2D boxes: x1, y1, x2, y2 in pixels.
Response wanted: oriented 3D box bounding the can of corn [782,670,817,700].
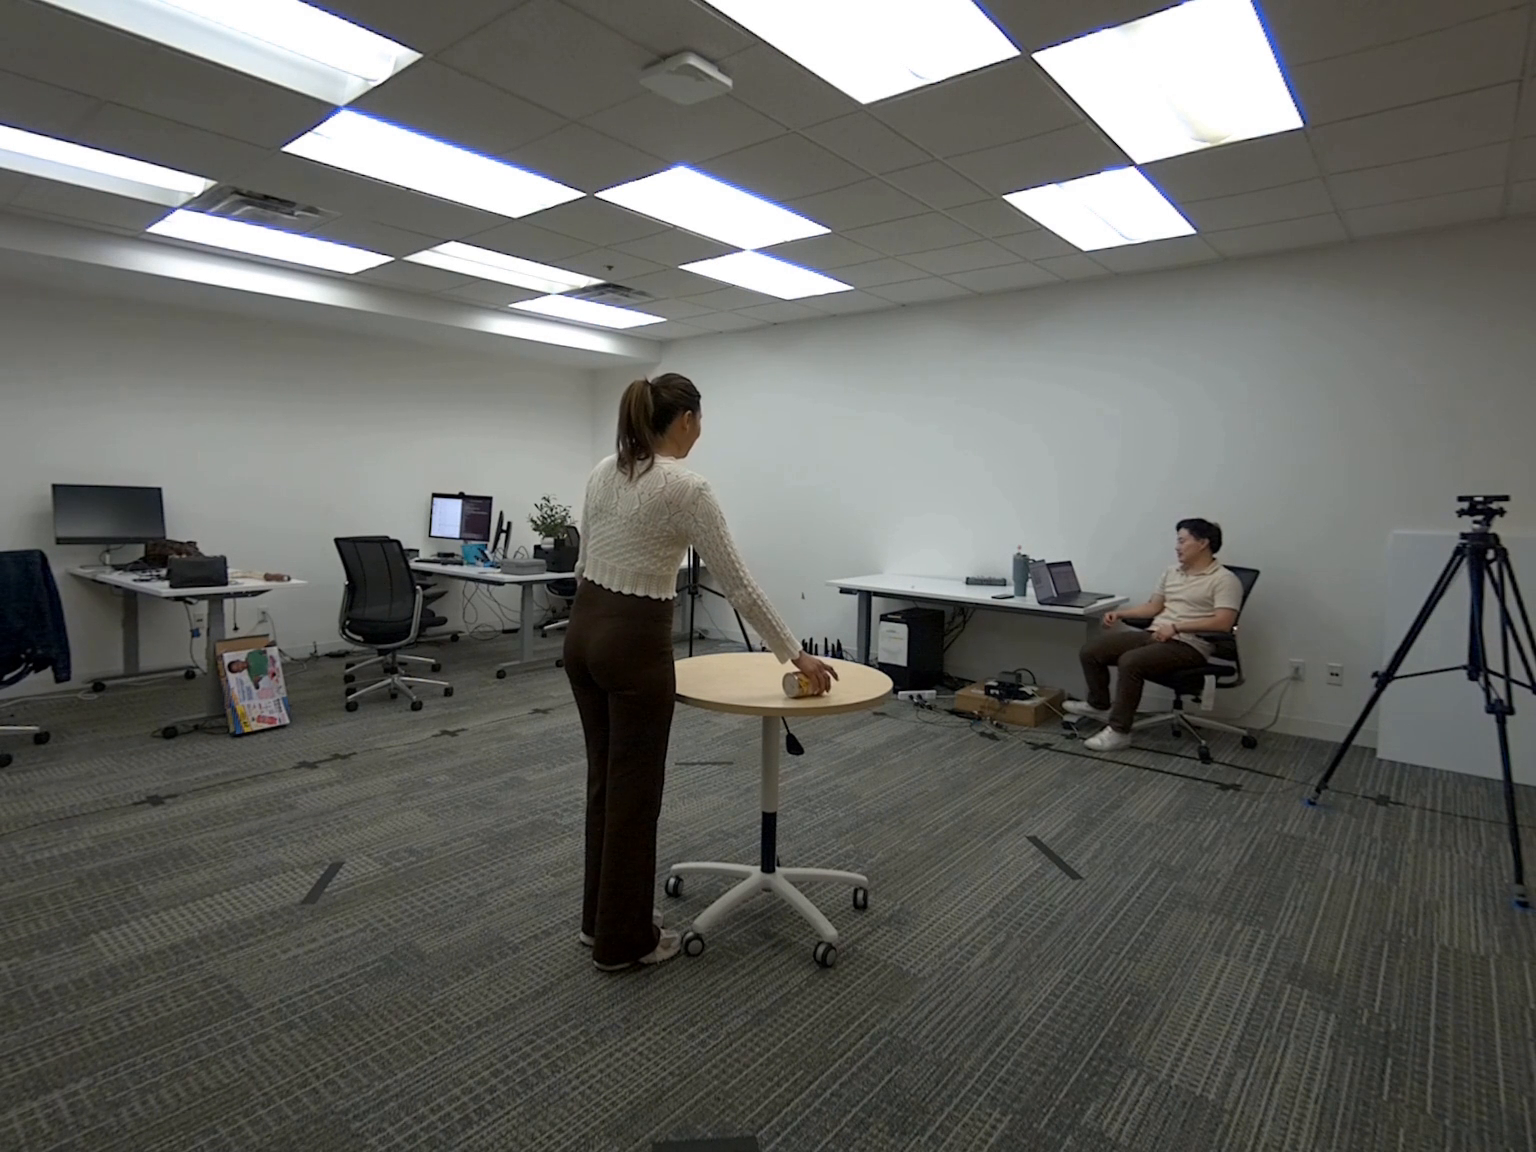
[{"bbox_3d":[0.098,0.317,2.508,0.109,0.074,0.076,-4,5,-23],"label":"can of corn"}]
